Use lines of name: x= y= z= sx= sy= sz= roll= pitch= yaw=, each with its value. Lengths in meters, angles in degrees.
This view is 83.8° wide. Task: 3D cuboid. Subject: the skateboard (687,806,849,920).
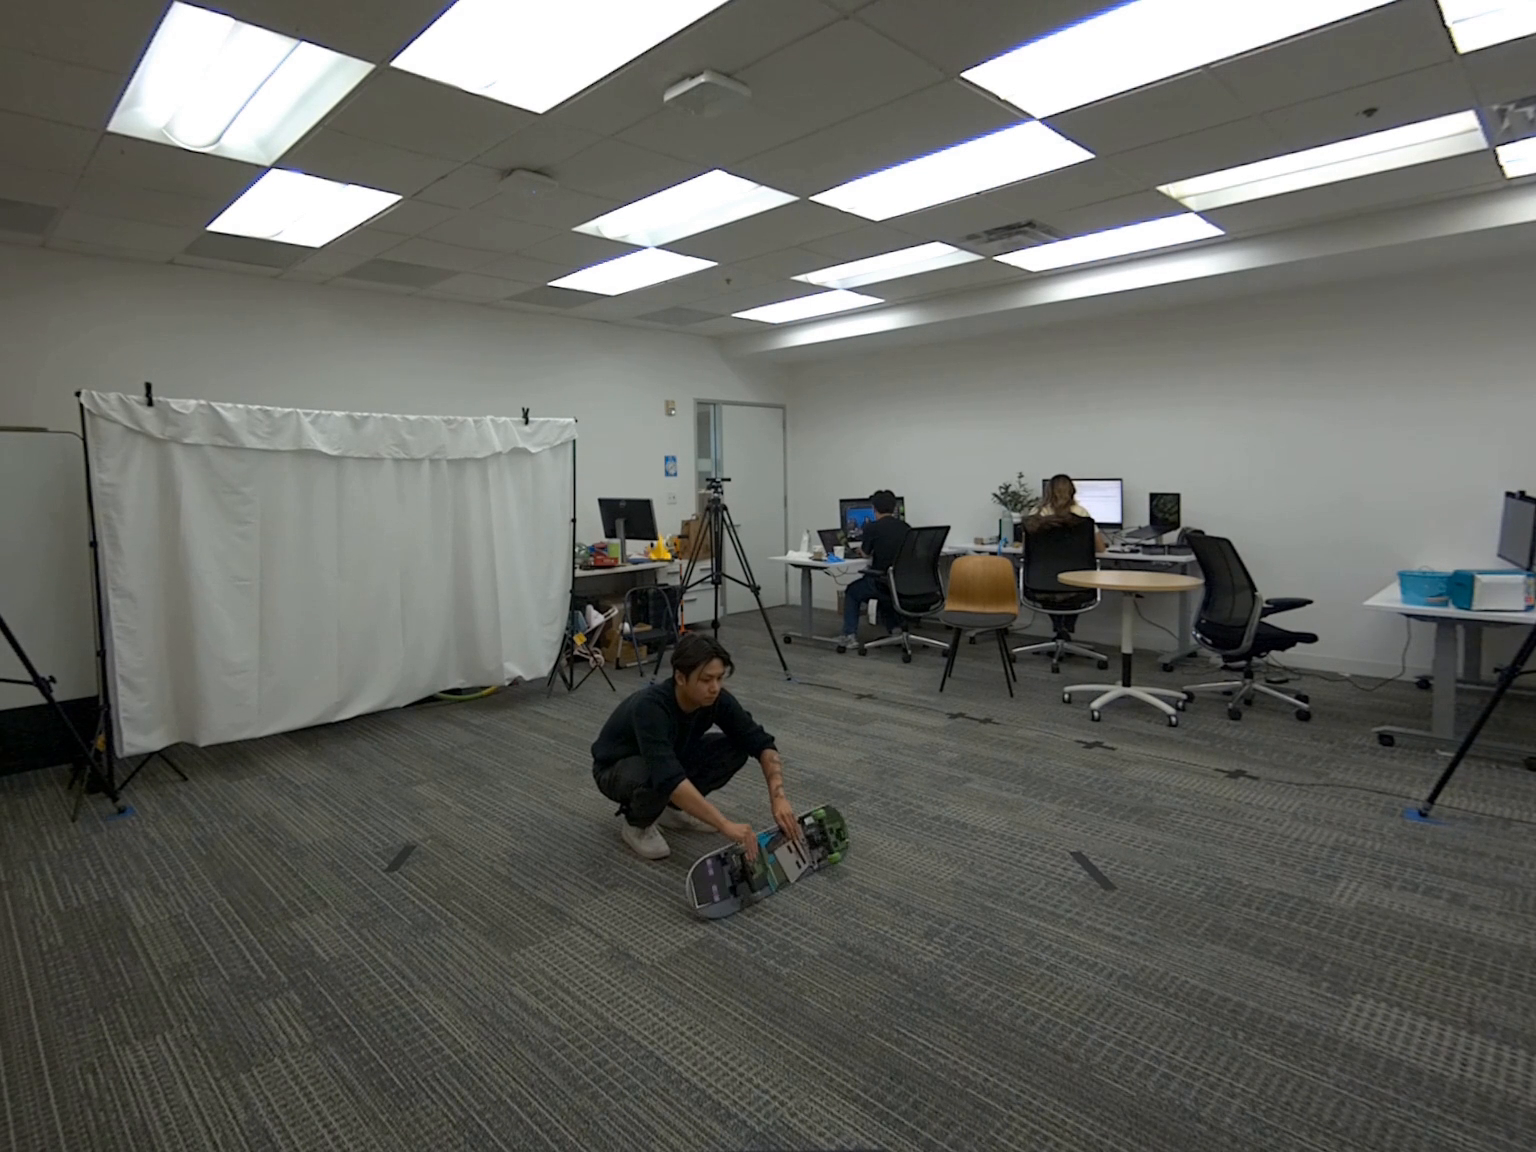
skateboard: x=0.040 y=0.951 z=2.942 sx=0.765 sy=0.197 sz=0.111 roll=-7 pitch=-19 yaw=-44
